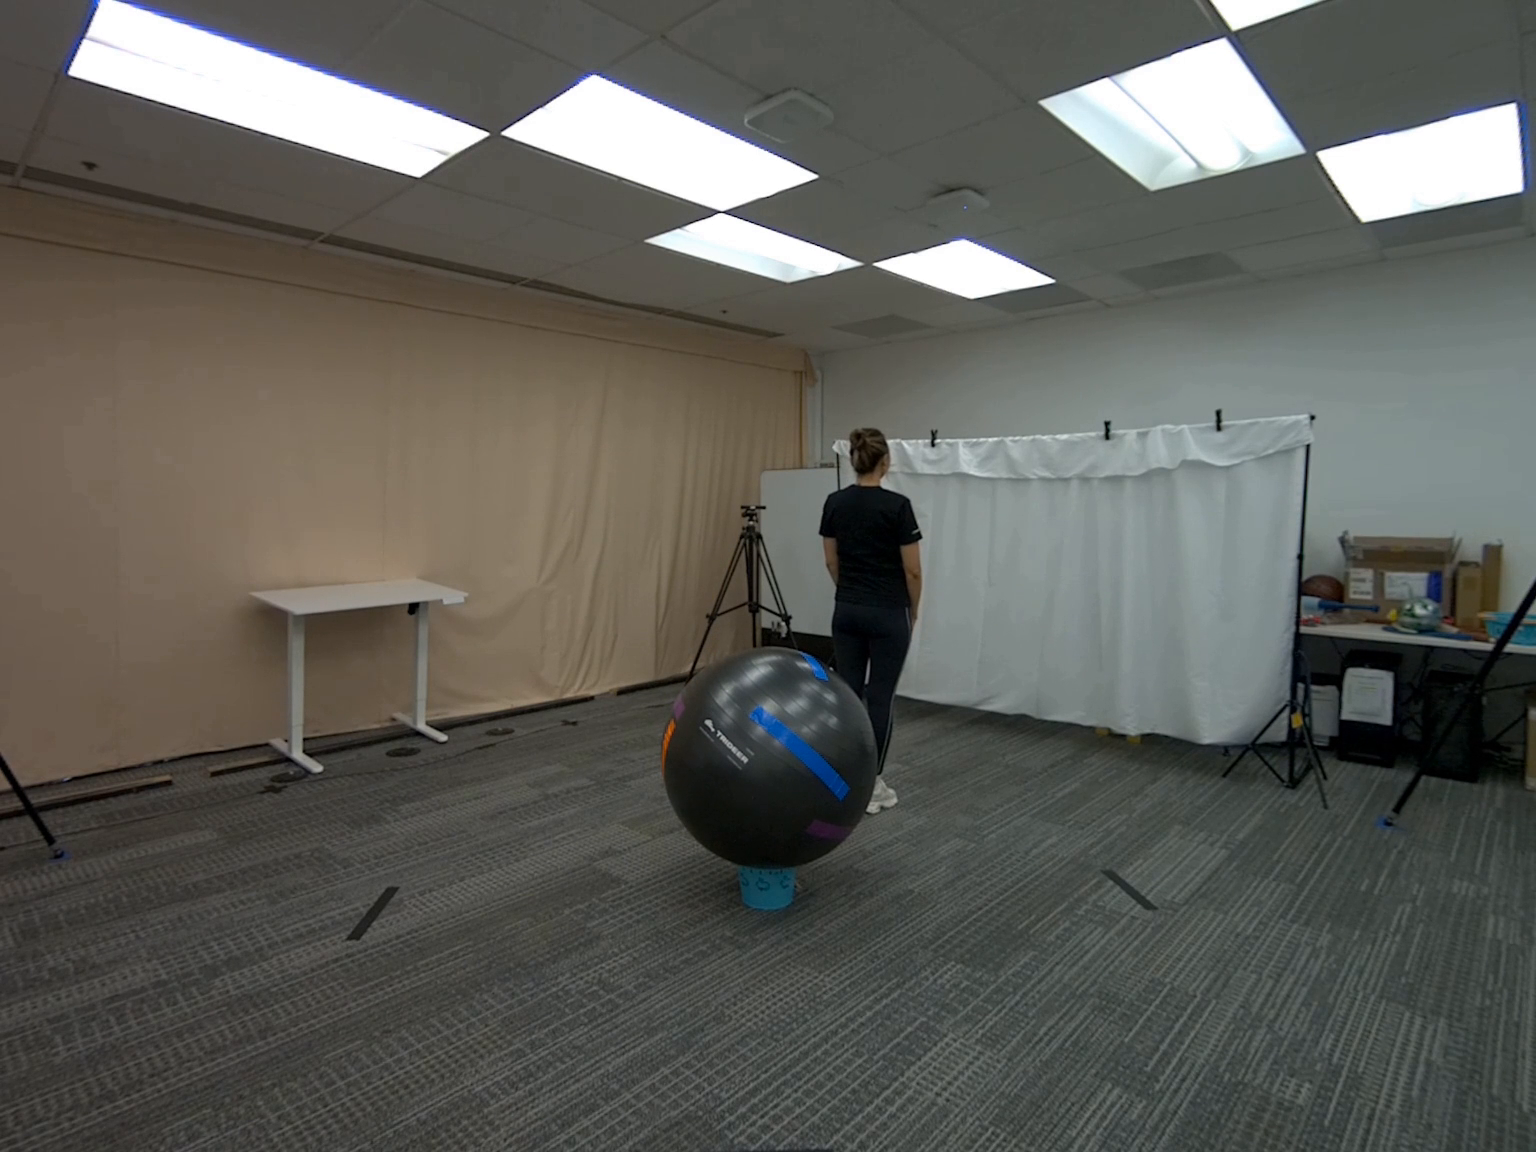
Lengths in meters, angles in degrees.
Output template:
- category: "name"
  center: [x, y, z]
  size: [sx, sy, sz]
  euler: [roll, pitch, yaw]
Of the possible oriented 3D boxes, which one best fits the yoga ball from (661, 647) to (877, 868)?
- category: "yoga ball"
  center: [0.006, 0.636, 2.967]
  size: [0.757, 0.756, 0.760]
  euler: [0, 4, -2]
